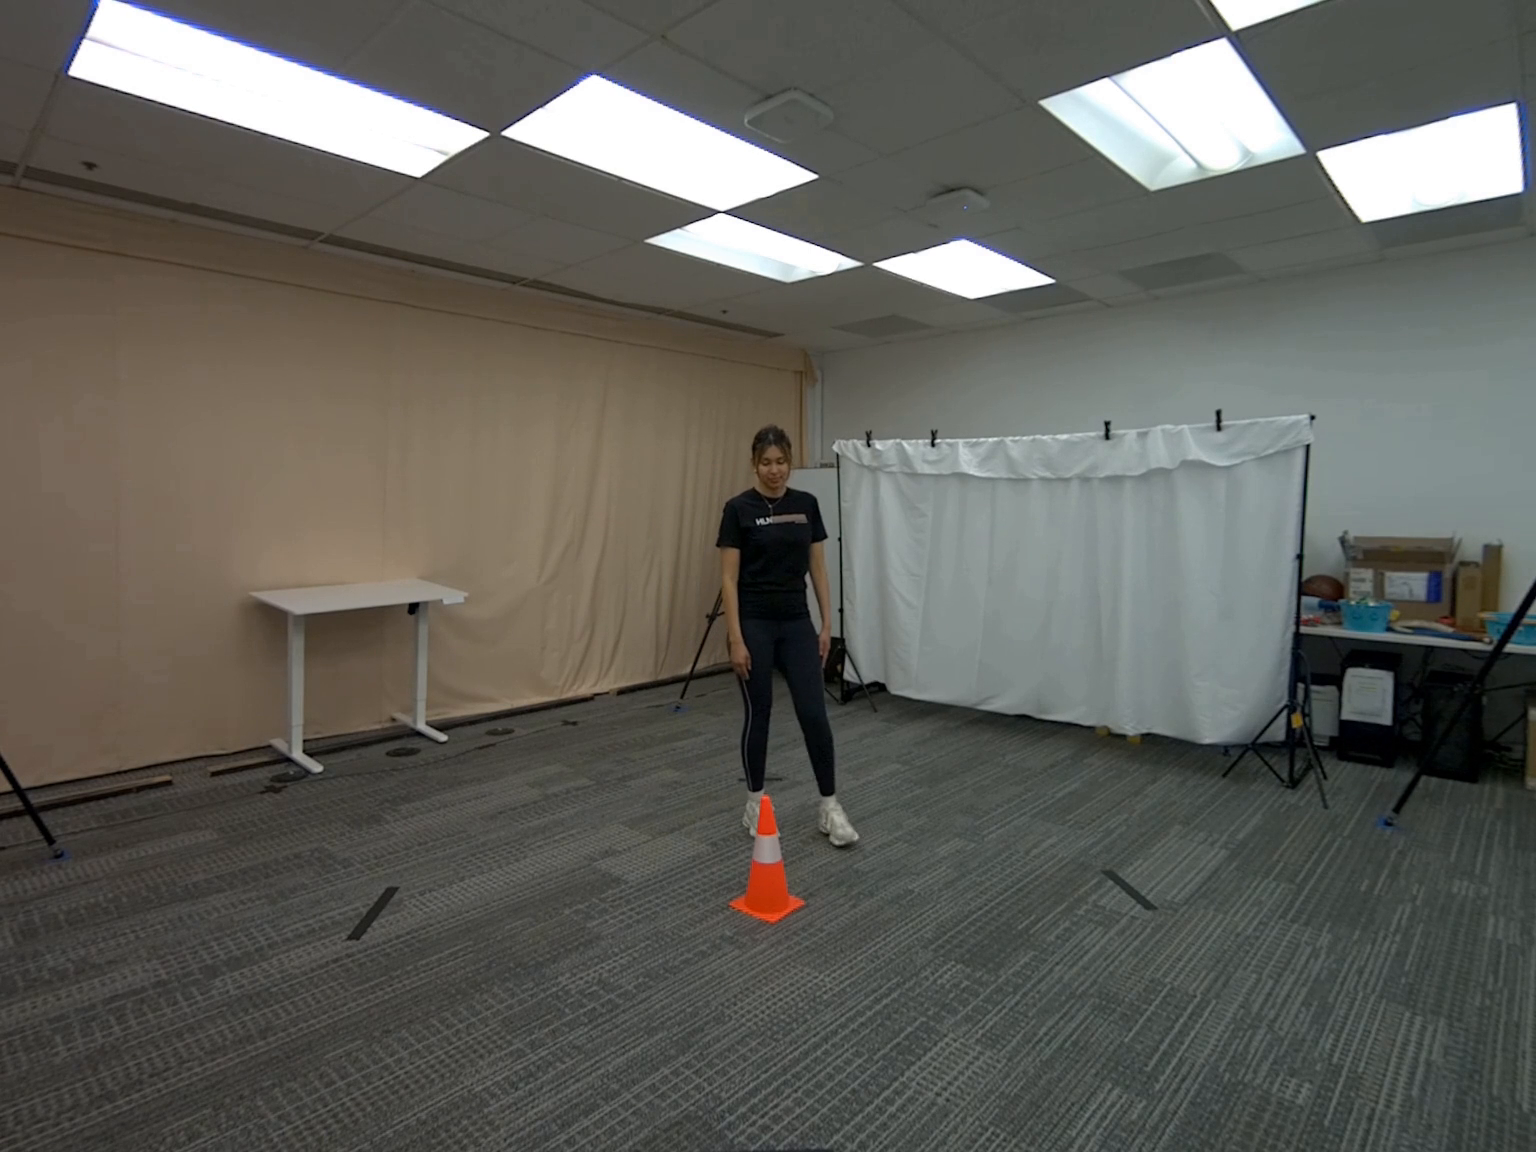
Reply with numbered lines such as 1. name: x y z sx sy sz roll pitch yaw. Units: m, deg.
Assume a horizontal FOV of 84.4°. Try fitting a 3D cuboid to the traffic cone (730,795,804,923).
1. traffic cone: -0.008 0.963 2.936 0.210 0.383 0.199 1 5 35
